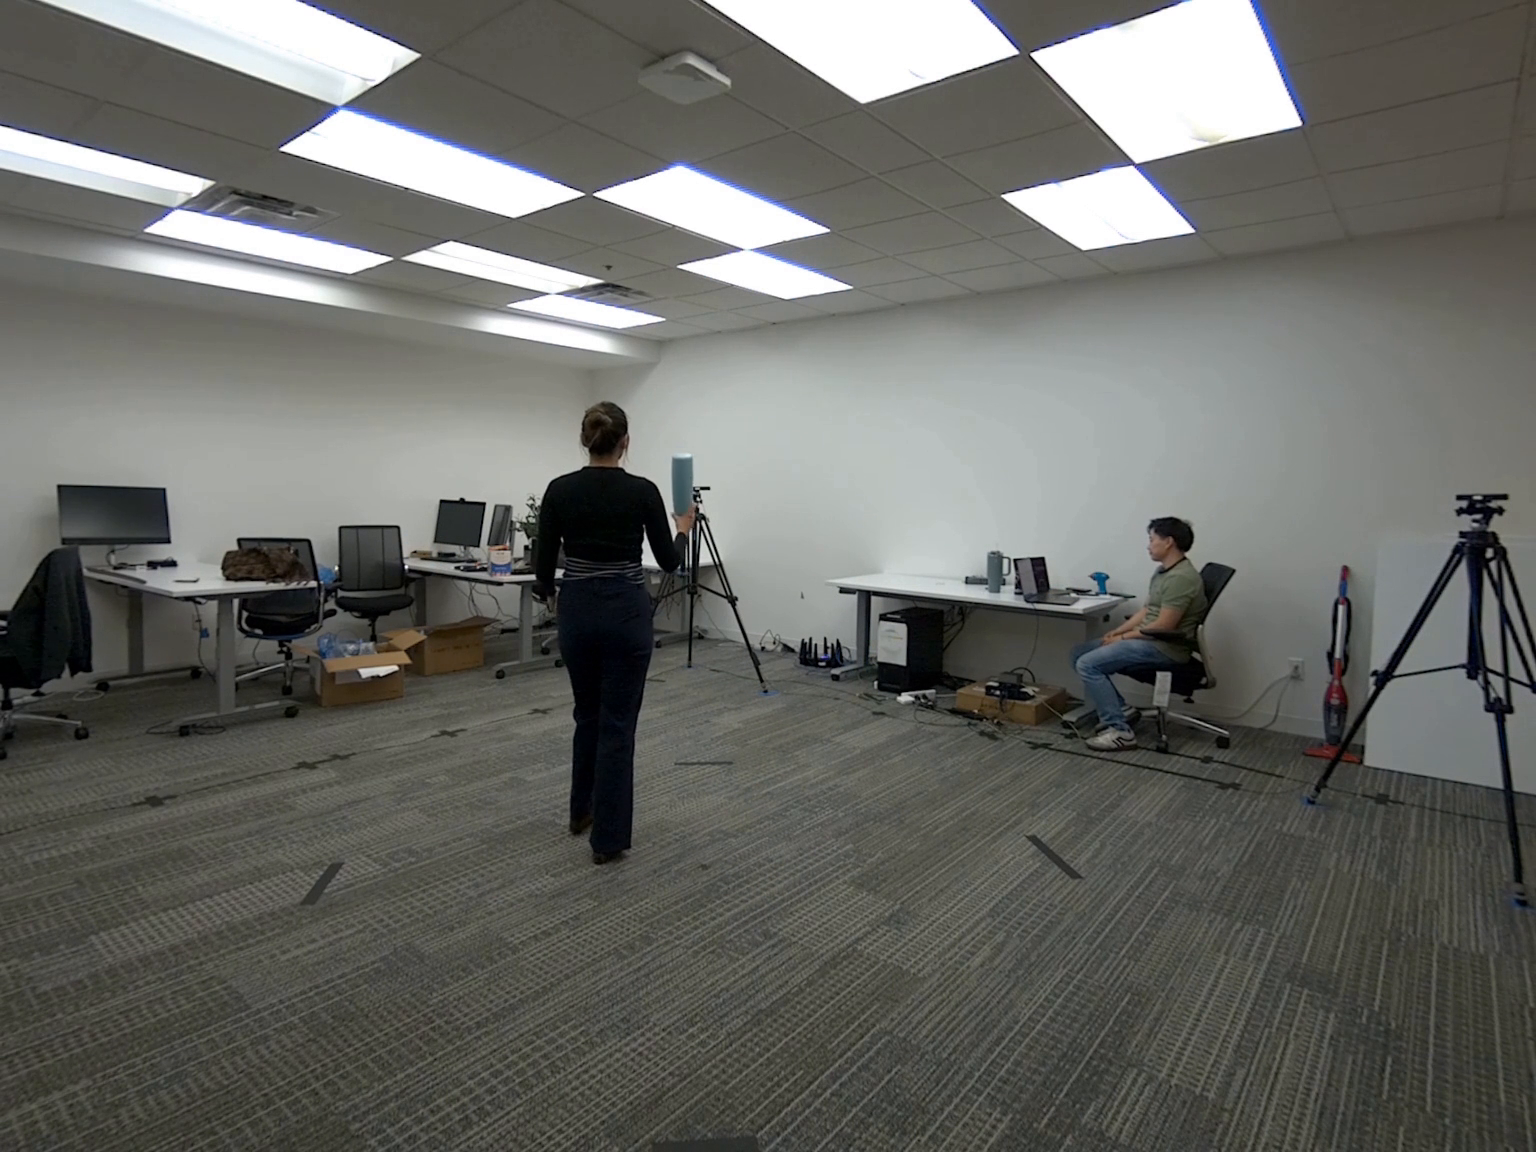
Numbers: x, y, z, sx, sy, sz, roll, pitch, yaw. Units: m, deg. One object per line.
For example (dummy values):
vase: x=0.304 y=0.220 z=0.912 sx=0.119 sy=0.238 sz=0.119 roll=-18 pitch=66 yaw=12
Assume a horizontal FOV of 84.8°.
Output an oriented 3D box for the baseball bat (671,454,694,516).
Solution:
baseball bat: x=-0.373 y=-0.247 z=3.542 sx=0.089 sy=0.534 sz=0.091 roll=2 pitch=20 yaw=-3
